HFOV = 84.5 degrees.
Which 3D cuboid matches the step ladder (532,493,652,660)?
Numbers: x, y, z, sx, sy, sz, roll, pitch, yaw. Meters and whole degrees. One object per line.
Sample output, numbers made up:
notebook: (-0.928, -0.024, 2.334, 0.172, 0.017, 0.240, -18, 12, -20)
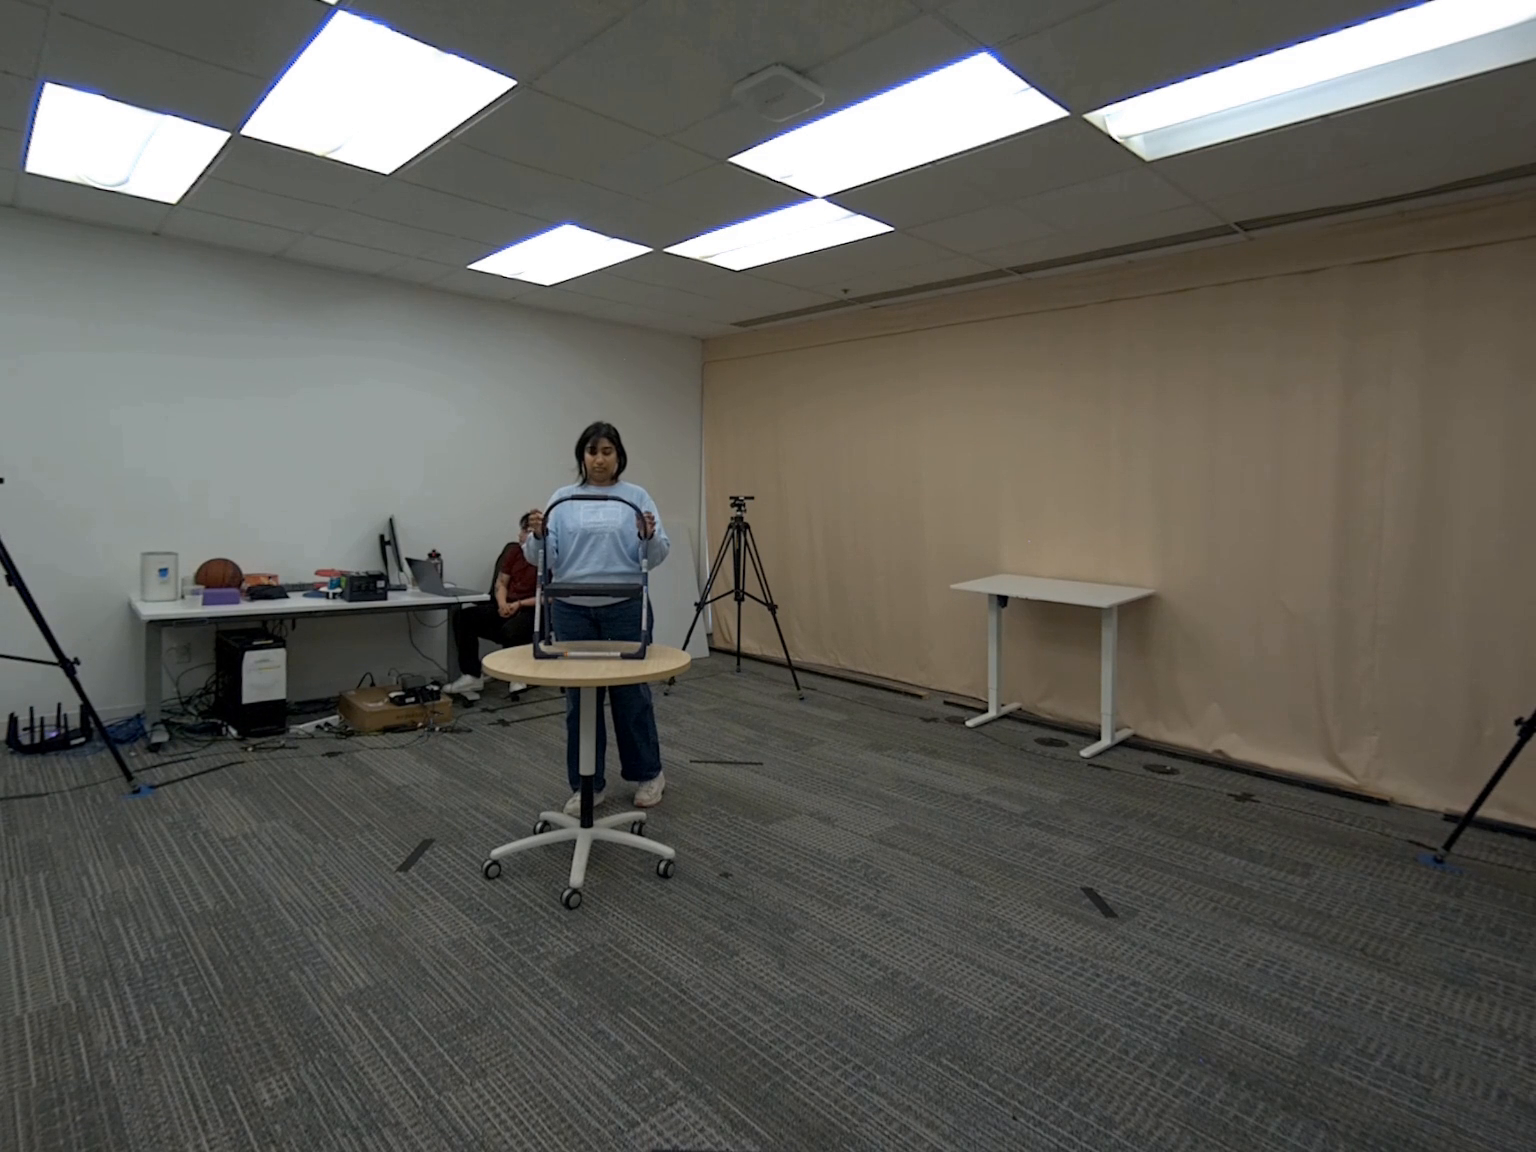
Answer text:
step ladder: (-0.681, -0.011, 3.250, 0.429, 0.605, 0.351, 1, 3, -5)
